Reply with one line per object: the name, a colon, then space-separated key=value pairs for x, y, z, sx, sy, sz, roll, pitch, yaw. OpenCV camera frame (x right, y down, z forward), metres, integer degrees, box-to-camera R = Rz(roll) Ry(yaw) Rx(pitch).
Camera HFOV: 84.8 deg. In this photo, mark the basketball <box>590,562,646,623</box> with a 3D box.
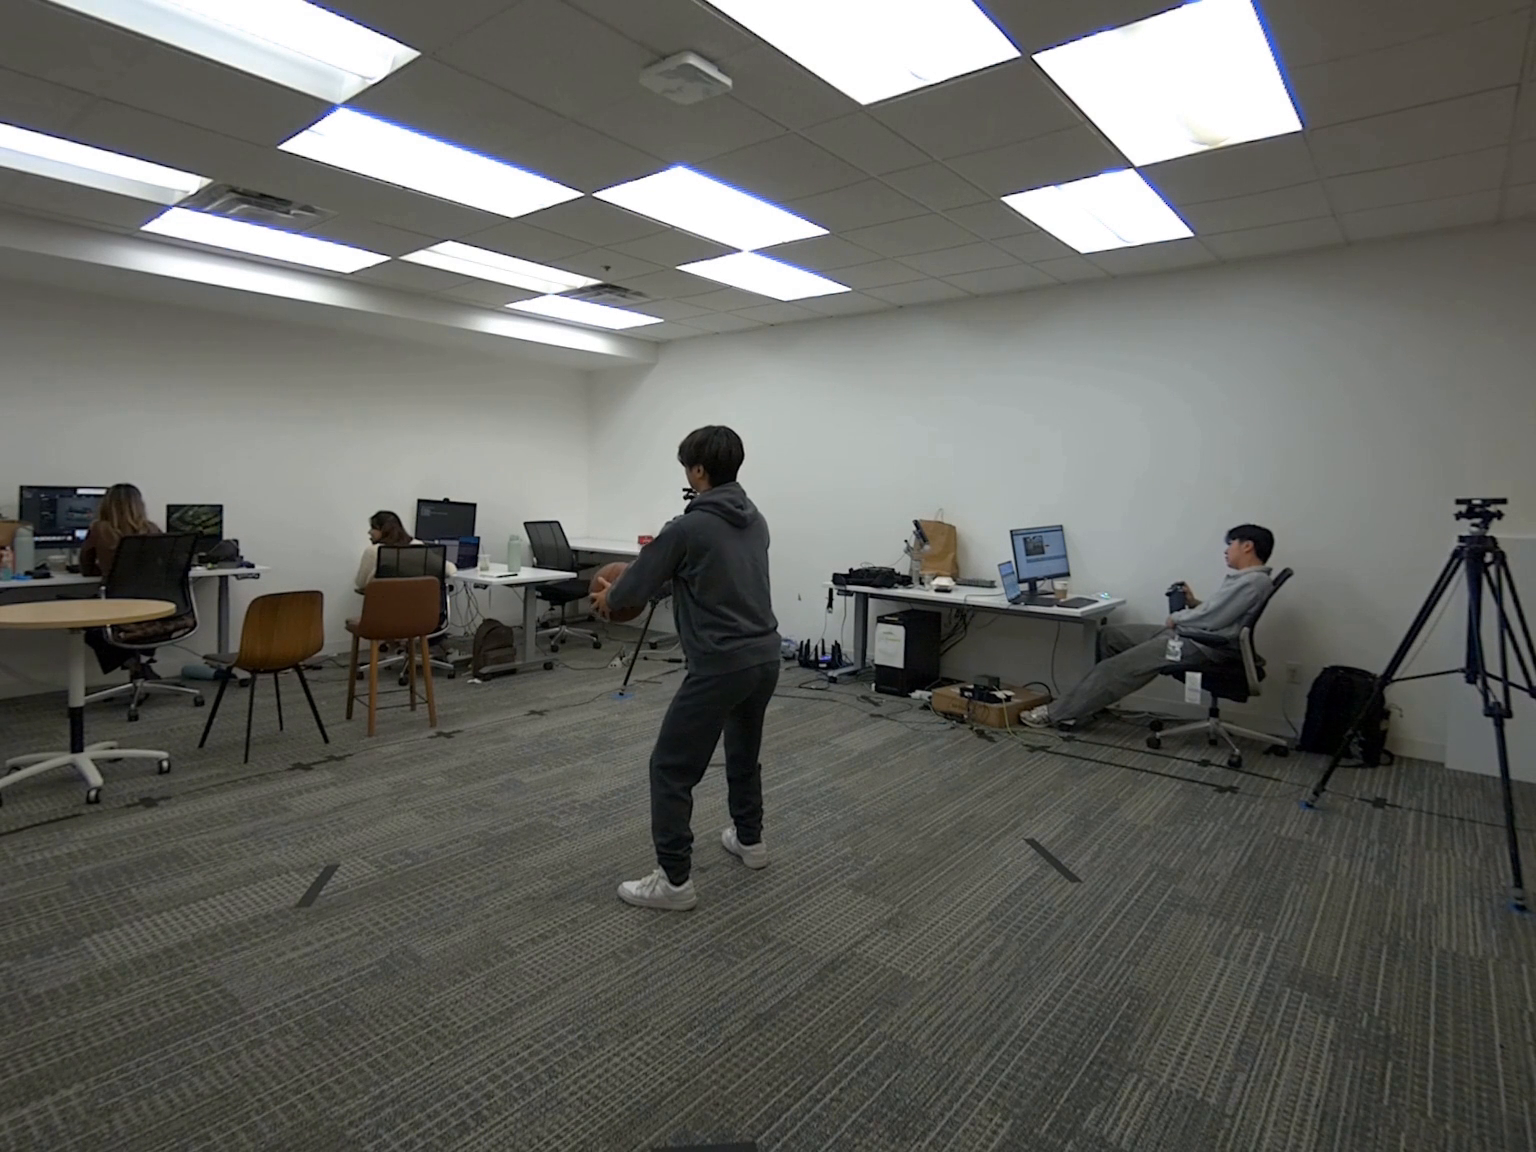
basketball: x=-0.599 y=0.066 z=3.363 sx=0.235 sy=0.235 sz=0.237 roll=1 pitch=4 yaw=-2
